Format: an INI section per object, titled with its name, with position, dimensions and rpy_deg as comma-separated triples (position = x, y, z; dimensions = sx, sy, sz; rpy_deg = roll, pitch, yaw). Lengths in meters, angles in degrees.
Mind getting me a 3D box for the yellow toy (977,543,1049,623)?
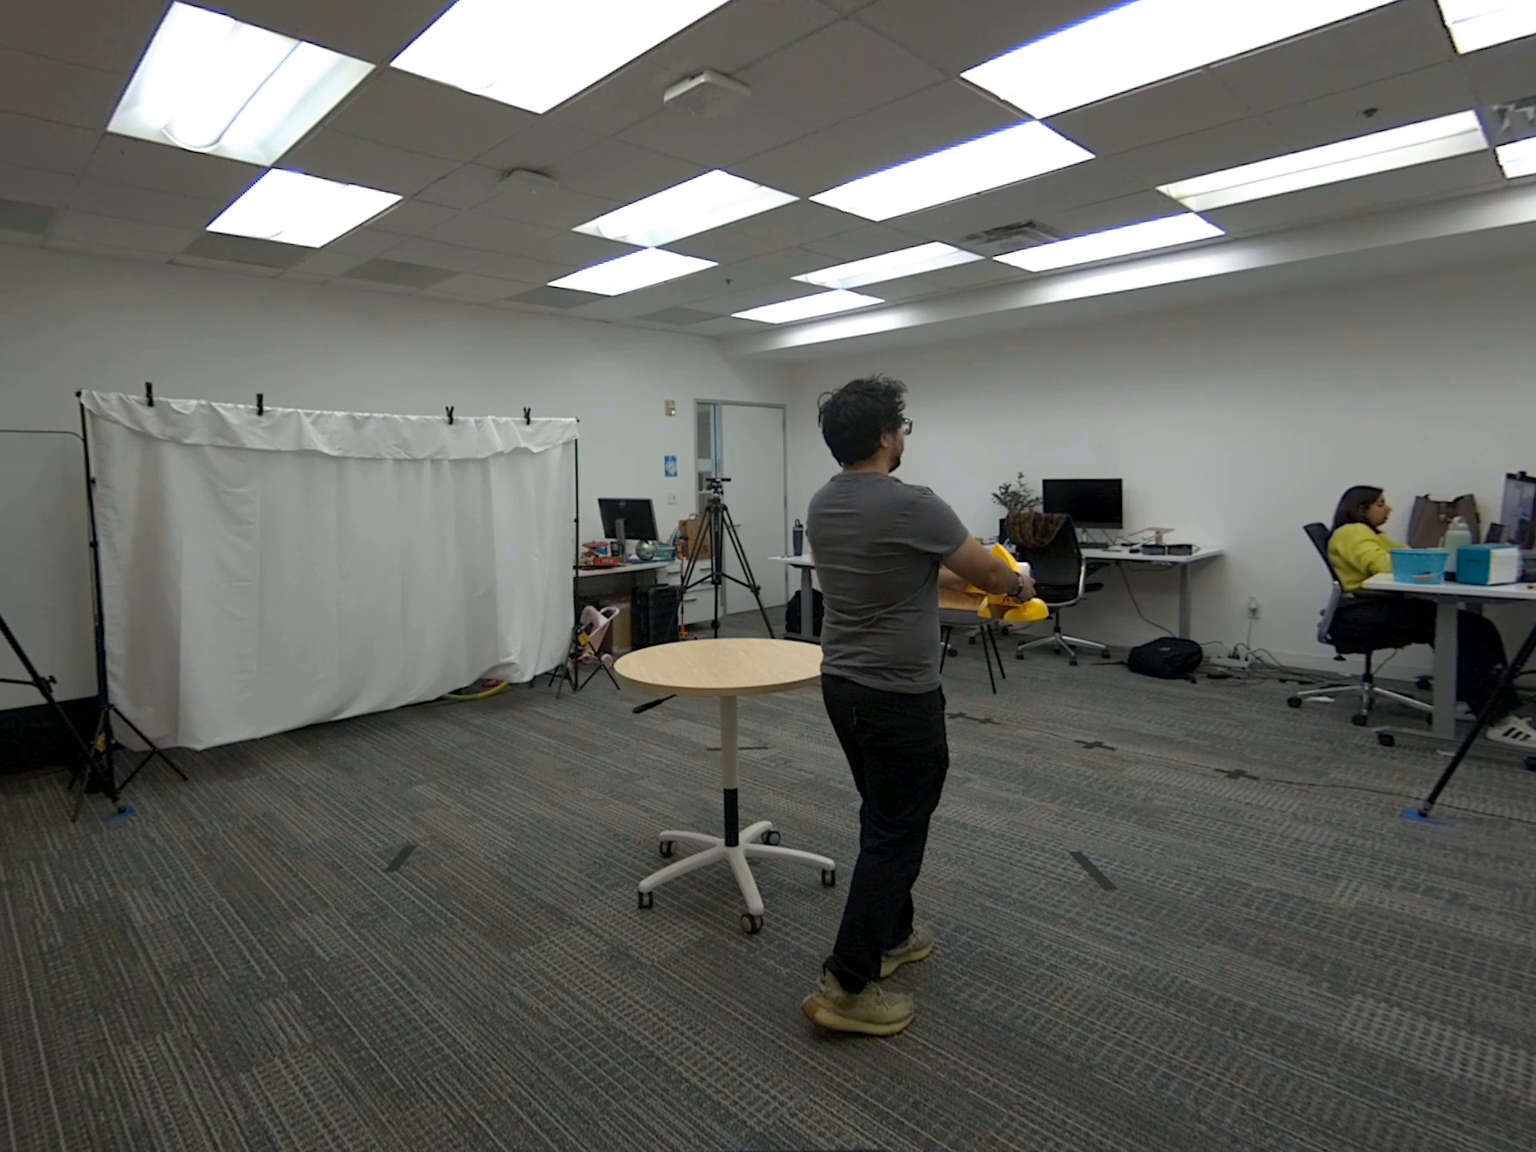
[yellow toy]
position = 0.747, 0.007, 2.621
dimensions = 0.188, 0.229, 0.211
rpy_deg = -7, 7, -37
